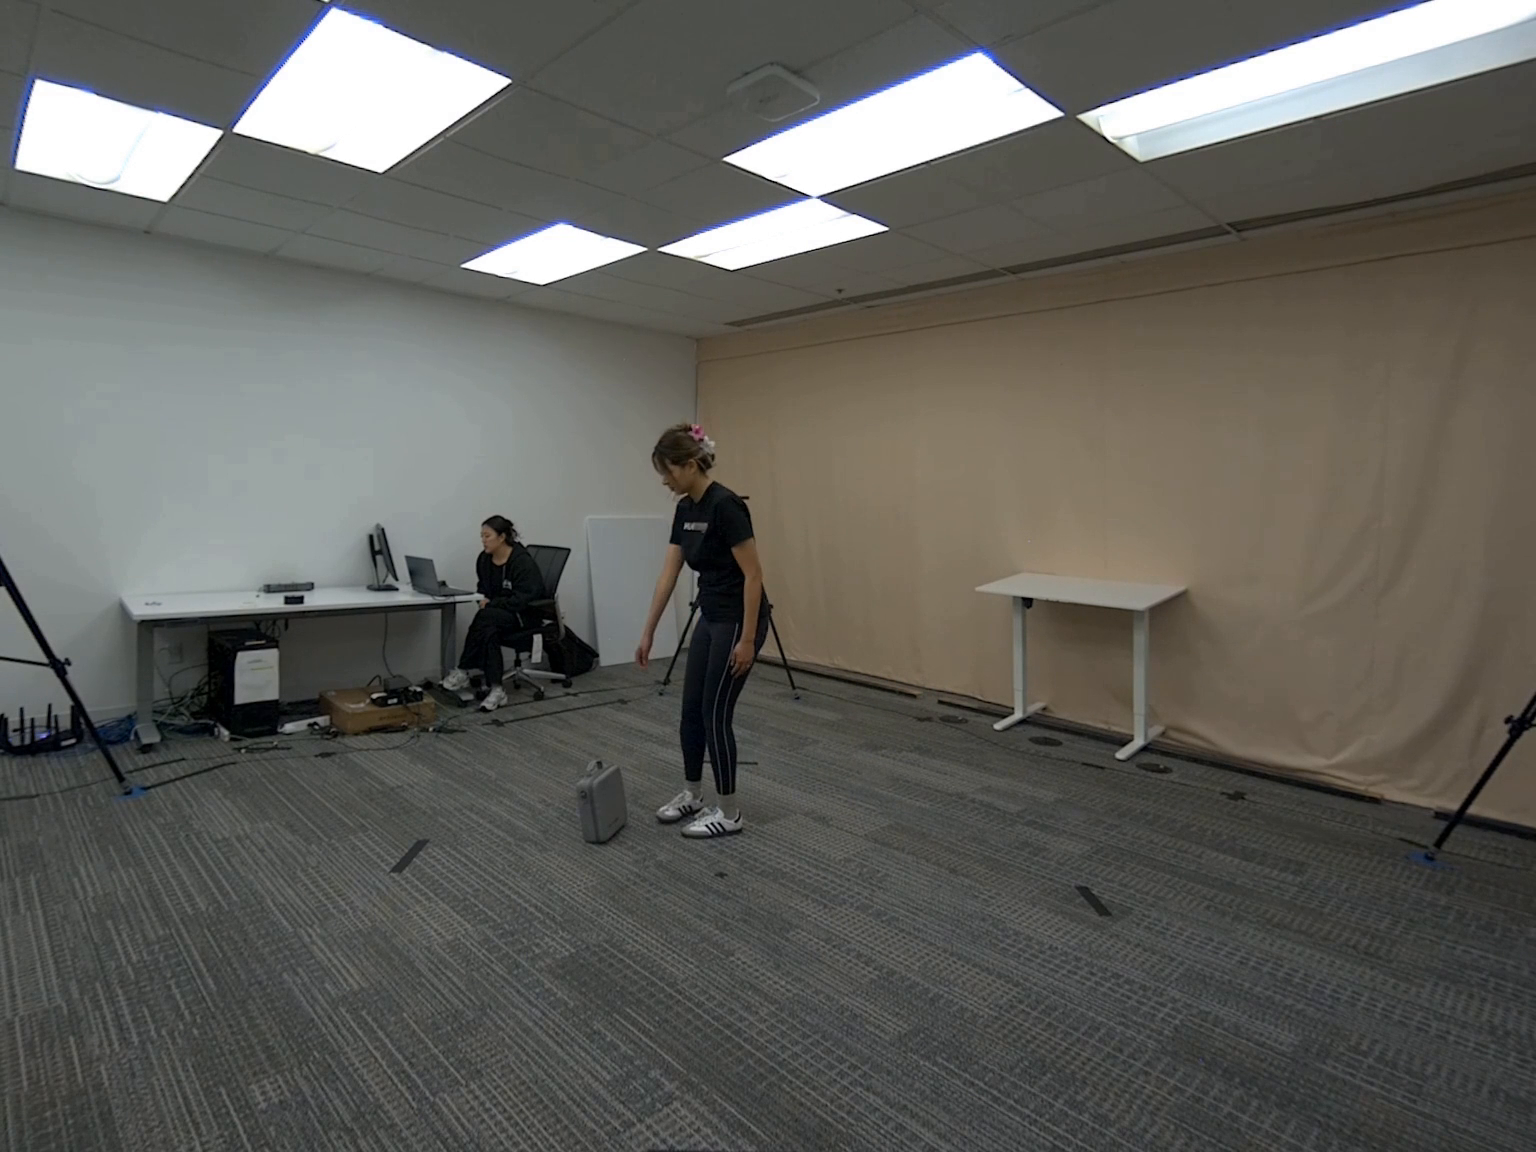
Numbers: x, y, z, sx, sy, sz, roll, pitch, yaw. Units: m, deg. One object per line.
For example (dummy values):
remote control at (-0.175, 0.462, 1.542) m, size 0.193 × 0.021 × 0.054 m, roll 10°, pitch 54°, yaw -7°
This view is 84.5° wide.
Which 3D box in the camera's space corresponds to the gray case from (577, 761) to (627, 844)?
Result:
gray case at (-0.690, 0.930, 3.456) m, size 0.105 × 0.261 × 0.254 m, roll -9°, pitch 0°, yaw 16°
